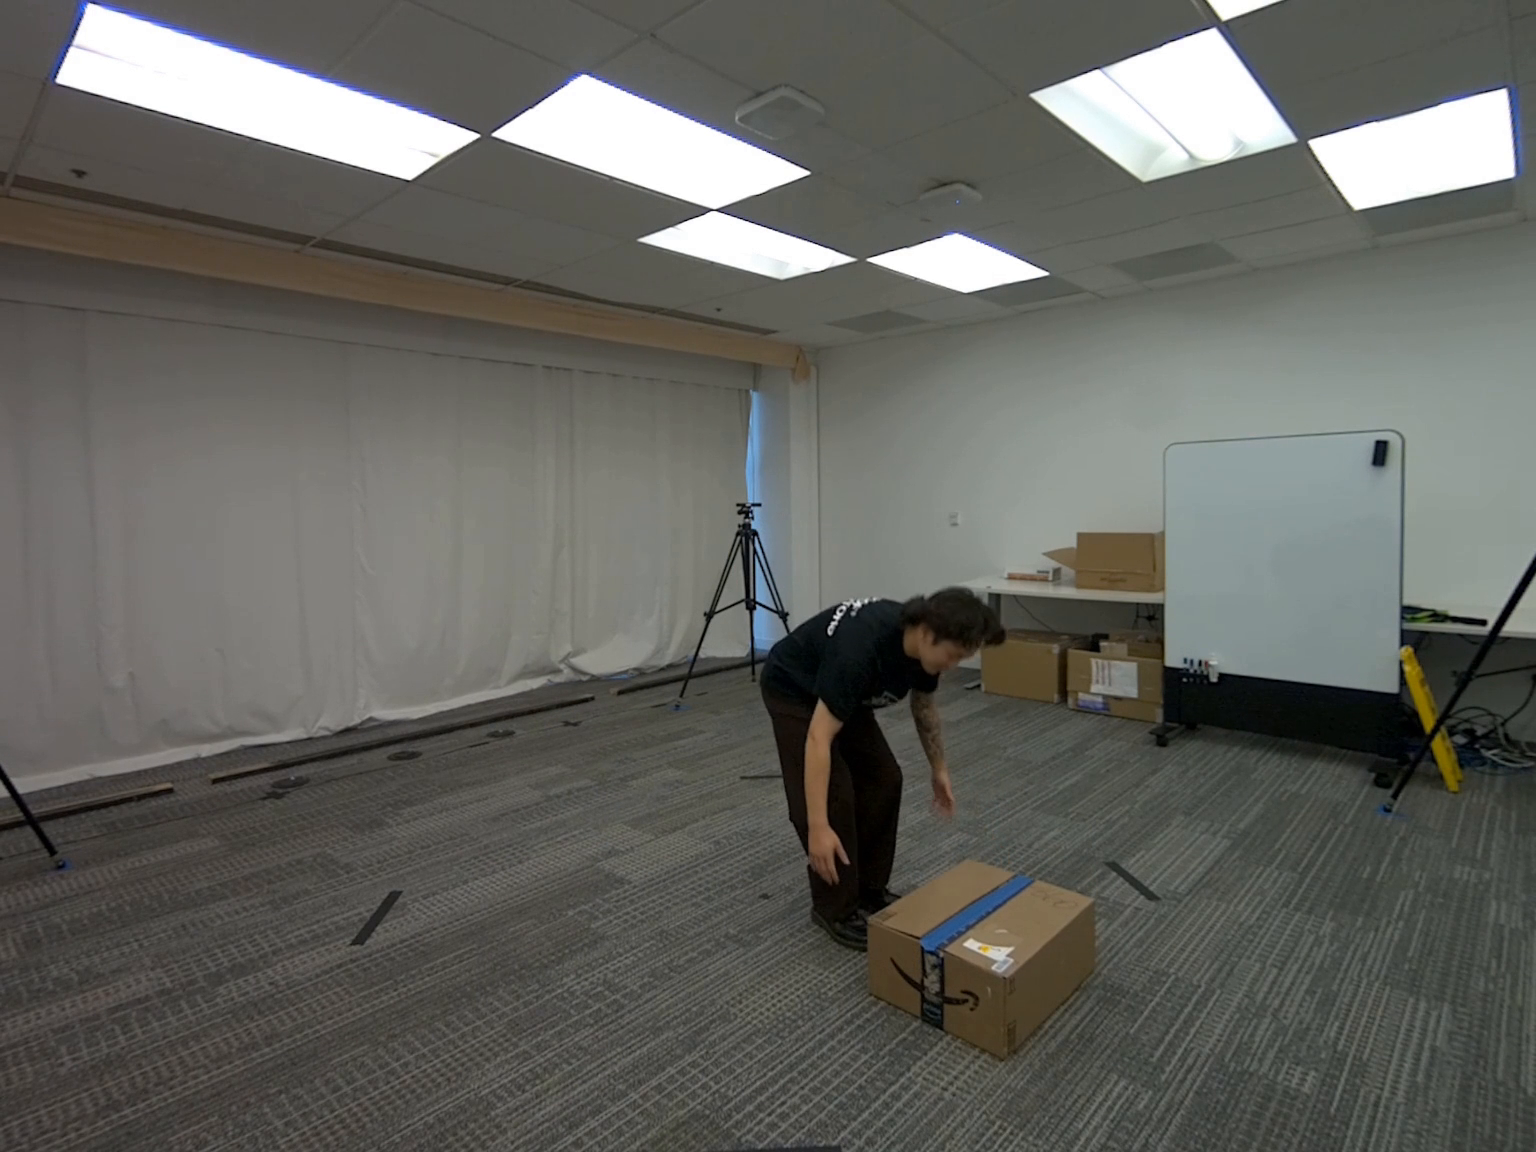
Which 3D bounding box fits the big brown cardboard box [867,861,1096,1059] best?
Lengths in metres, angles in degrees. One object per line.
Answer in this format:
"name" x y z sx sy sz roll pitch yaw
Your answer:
"big brown cardboard box" 0.615 1.057 2.421 0.431 0.232 0.571 4 6 43
